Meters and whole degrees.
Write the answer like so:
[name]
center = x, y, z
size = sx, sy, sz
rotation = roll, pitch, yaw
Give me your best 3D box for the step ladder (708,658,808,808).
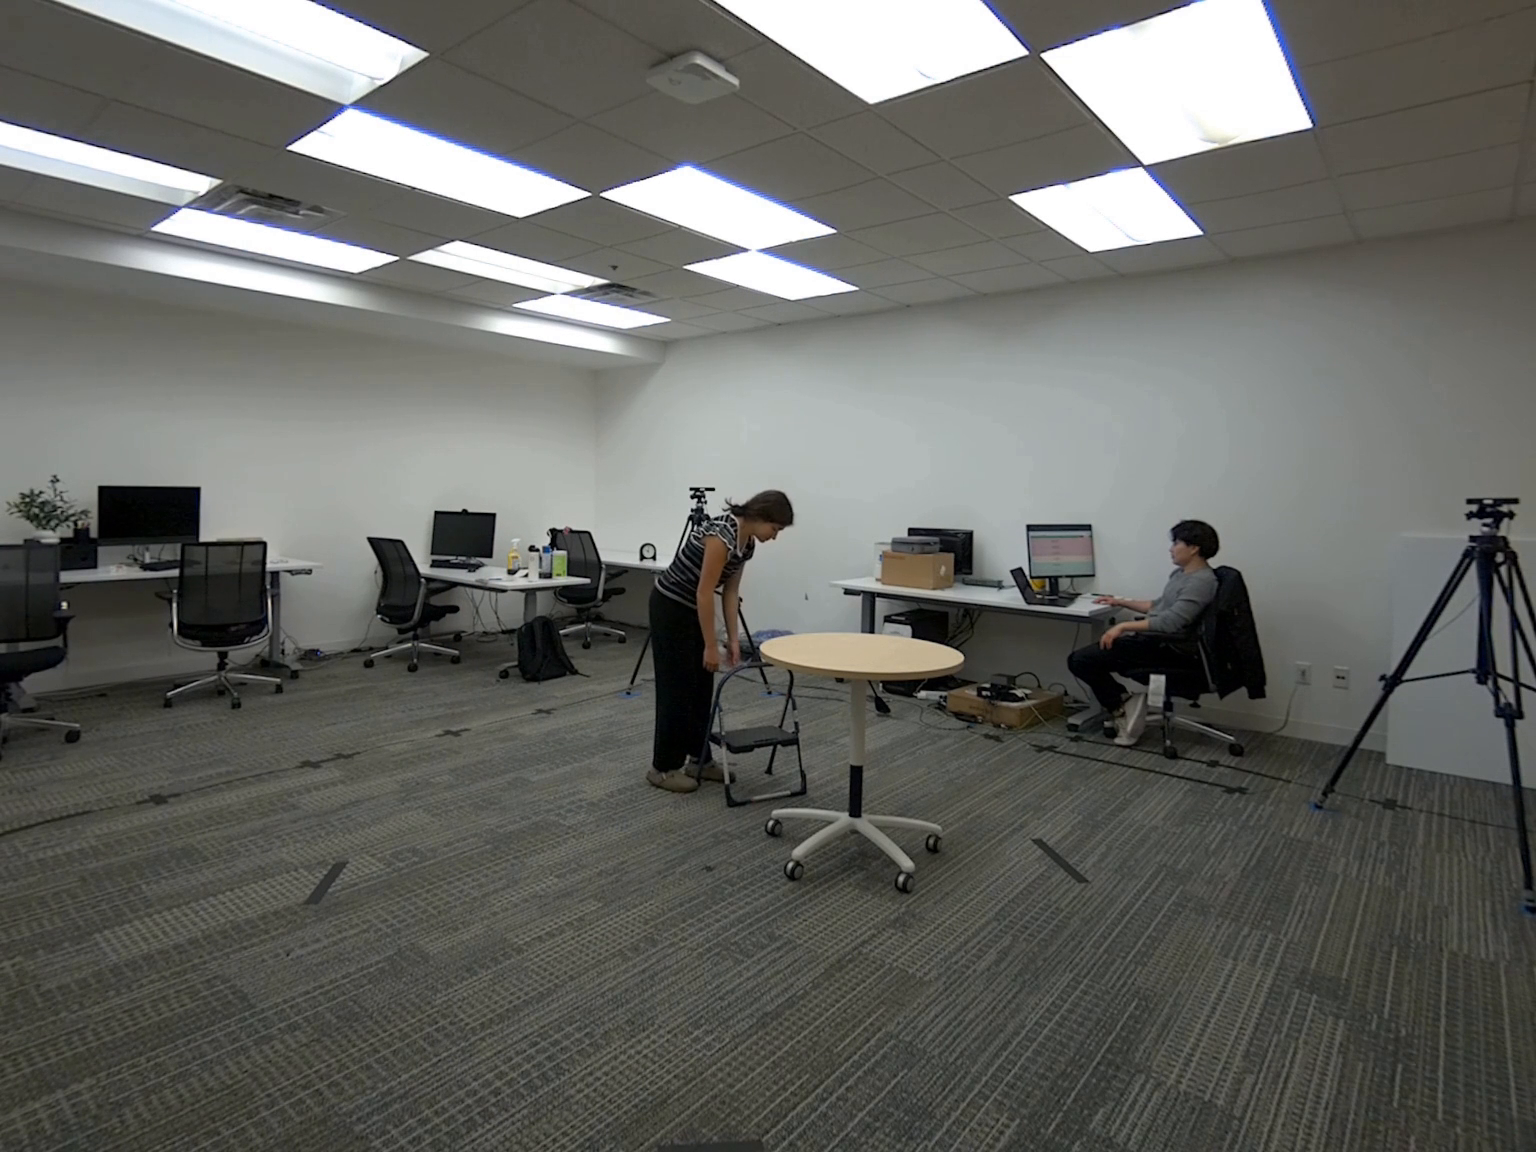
[step ladder]
center = -0.086, 0.684, 3.940
size = 0.419, 0.604, 0.360
rotation = -1, 3, -31
